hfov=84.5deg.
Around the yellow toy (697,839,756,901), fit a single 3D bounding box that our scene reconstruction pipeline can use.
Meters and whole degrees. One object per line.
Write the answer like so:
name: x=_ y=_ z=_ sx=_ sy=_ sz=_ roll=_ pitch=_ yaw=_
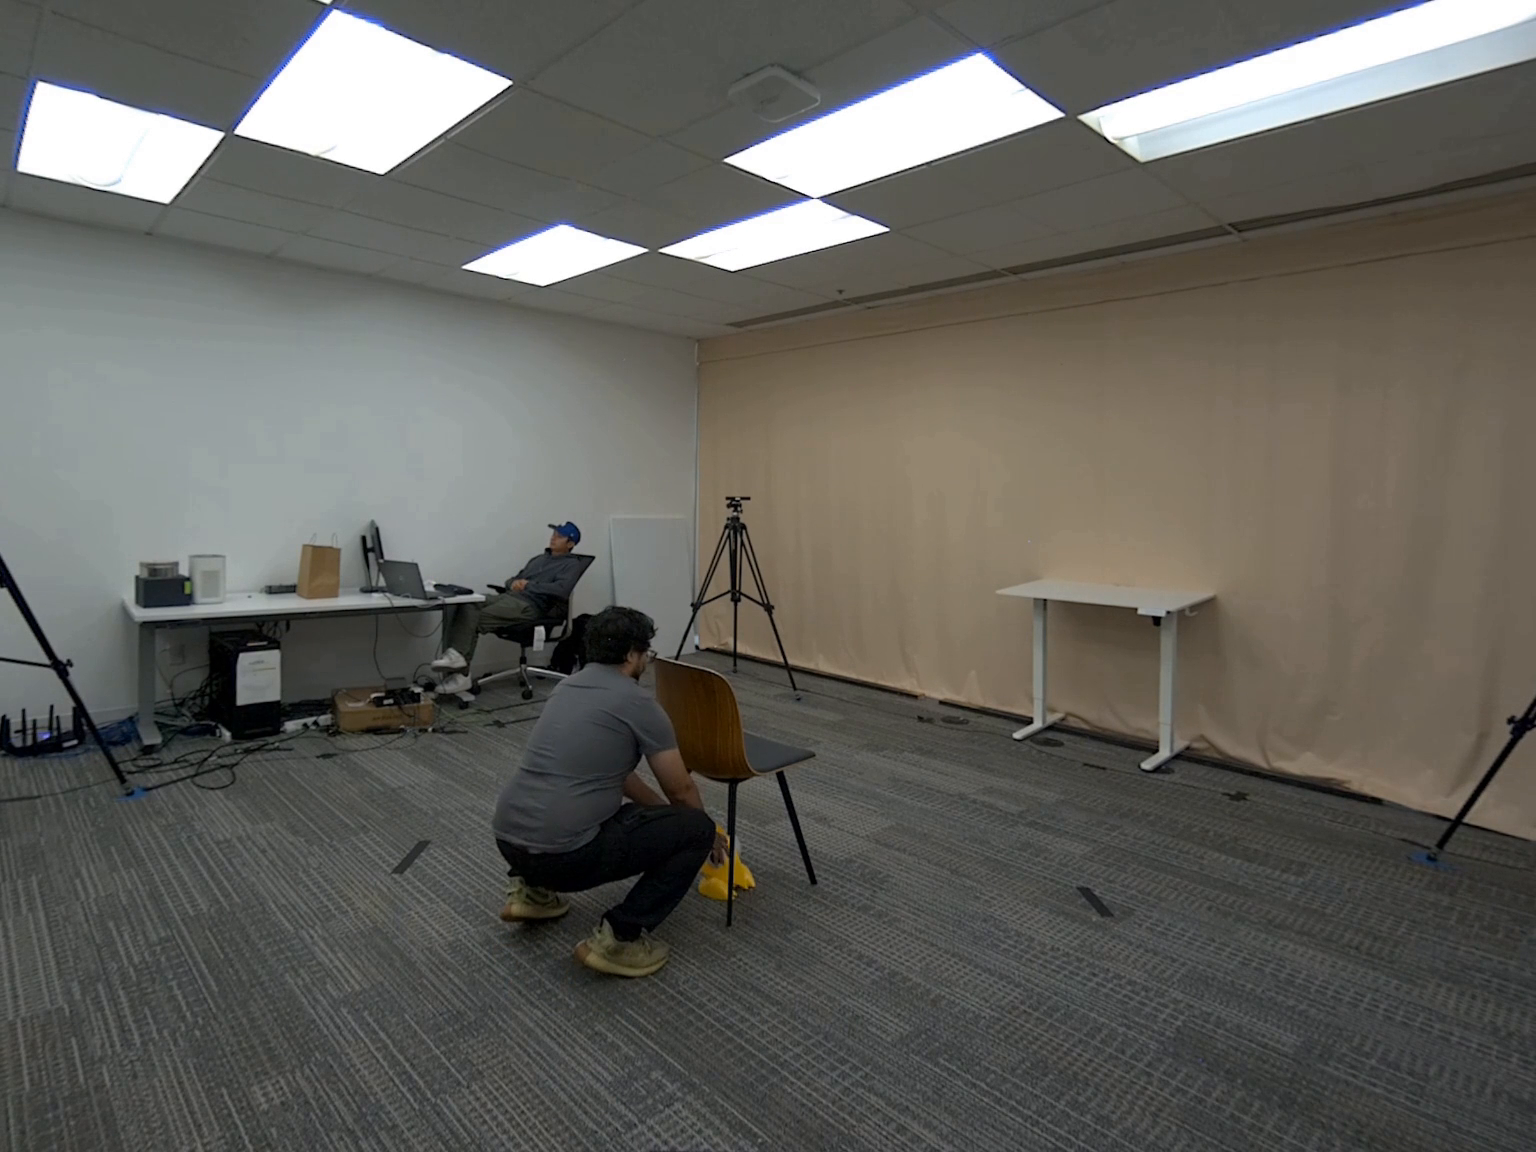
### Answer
yellow toy: x=-0.165 y=1.000 z=3.016 sx=0.198 sy=0.230 sz=0.200 roll=3 pitch=4 yaw=38
